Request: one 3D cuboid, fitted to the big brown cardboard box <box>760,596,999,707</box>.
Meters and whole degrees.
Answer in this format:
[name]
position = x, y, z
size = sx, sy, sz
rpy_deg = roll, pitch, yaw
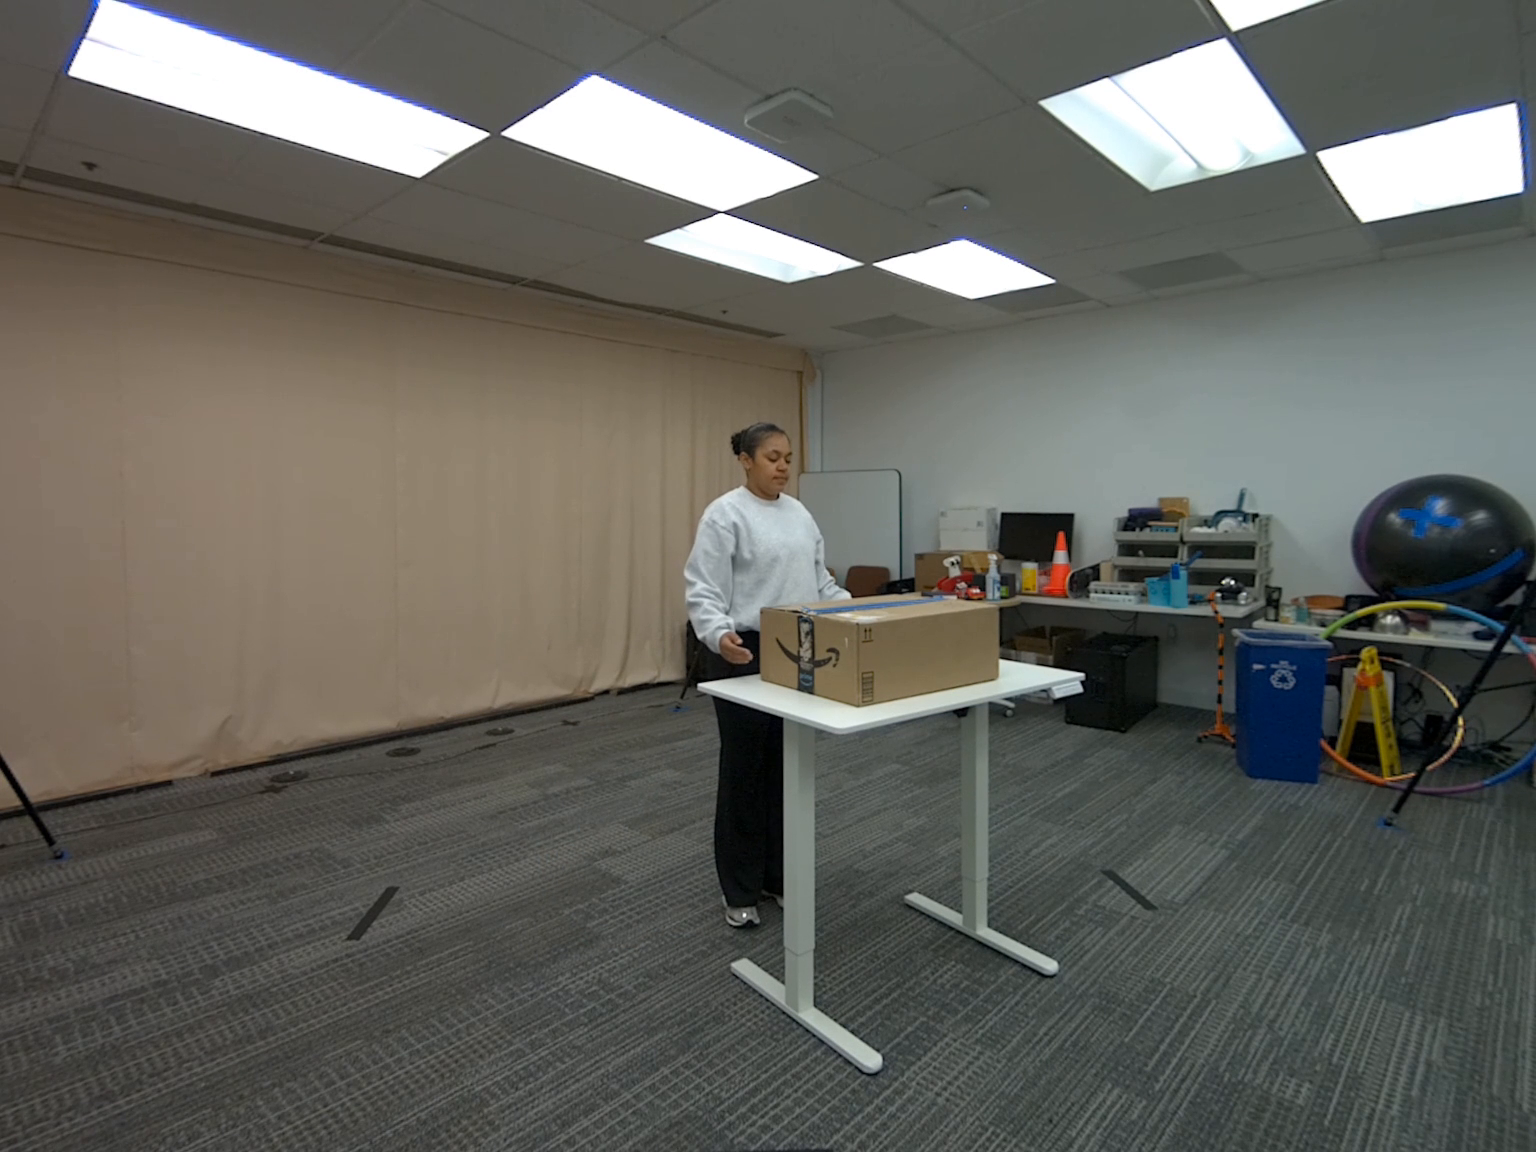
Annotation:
[big brown cardboard box]
position = 0.325, 0.196, 2.451
size = 0.572, 0.233, 0.431
rpy_deg = -3, 5, -36
